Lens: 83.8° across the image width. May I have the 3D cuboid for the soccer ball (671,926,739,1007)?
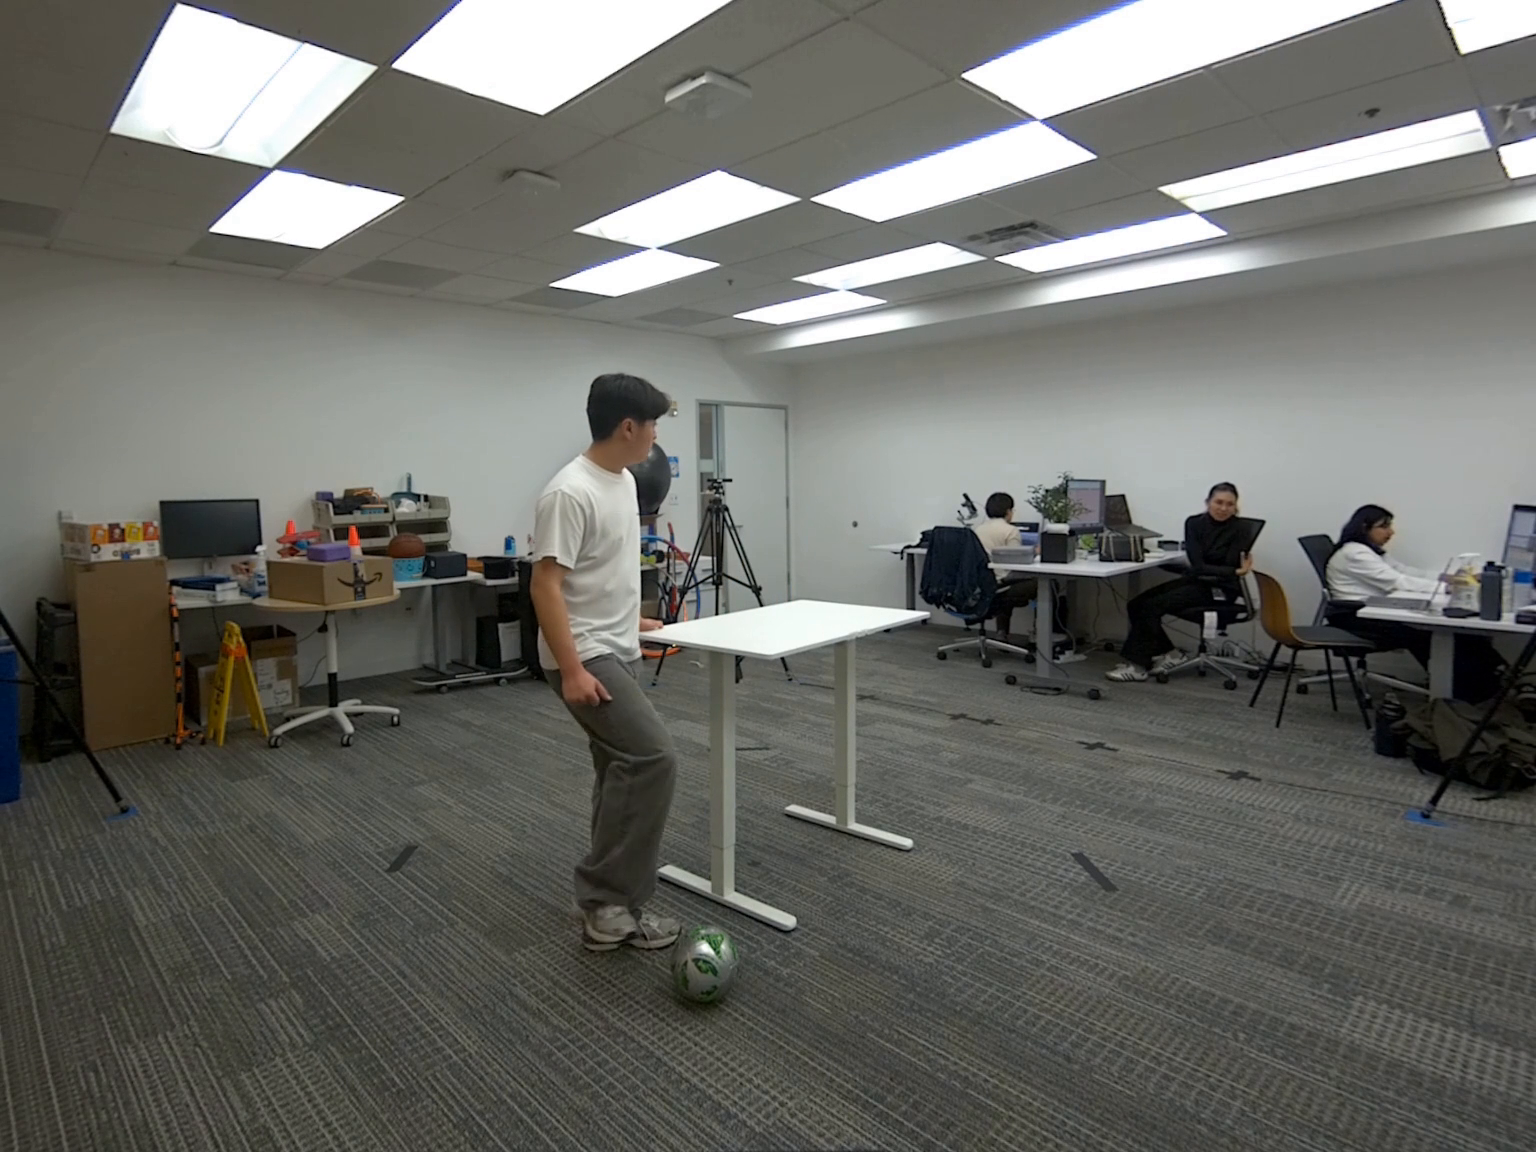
[{"bbox_3d":[-0.165,1.051,2.310,0.187,0.187,0.188,-1,5,-2],"label":"soccer ball"}]
